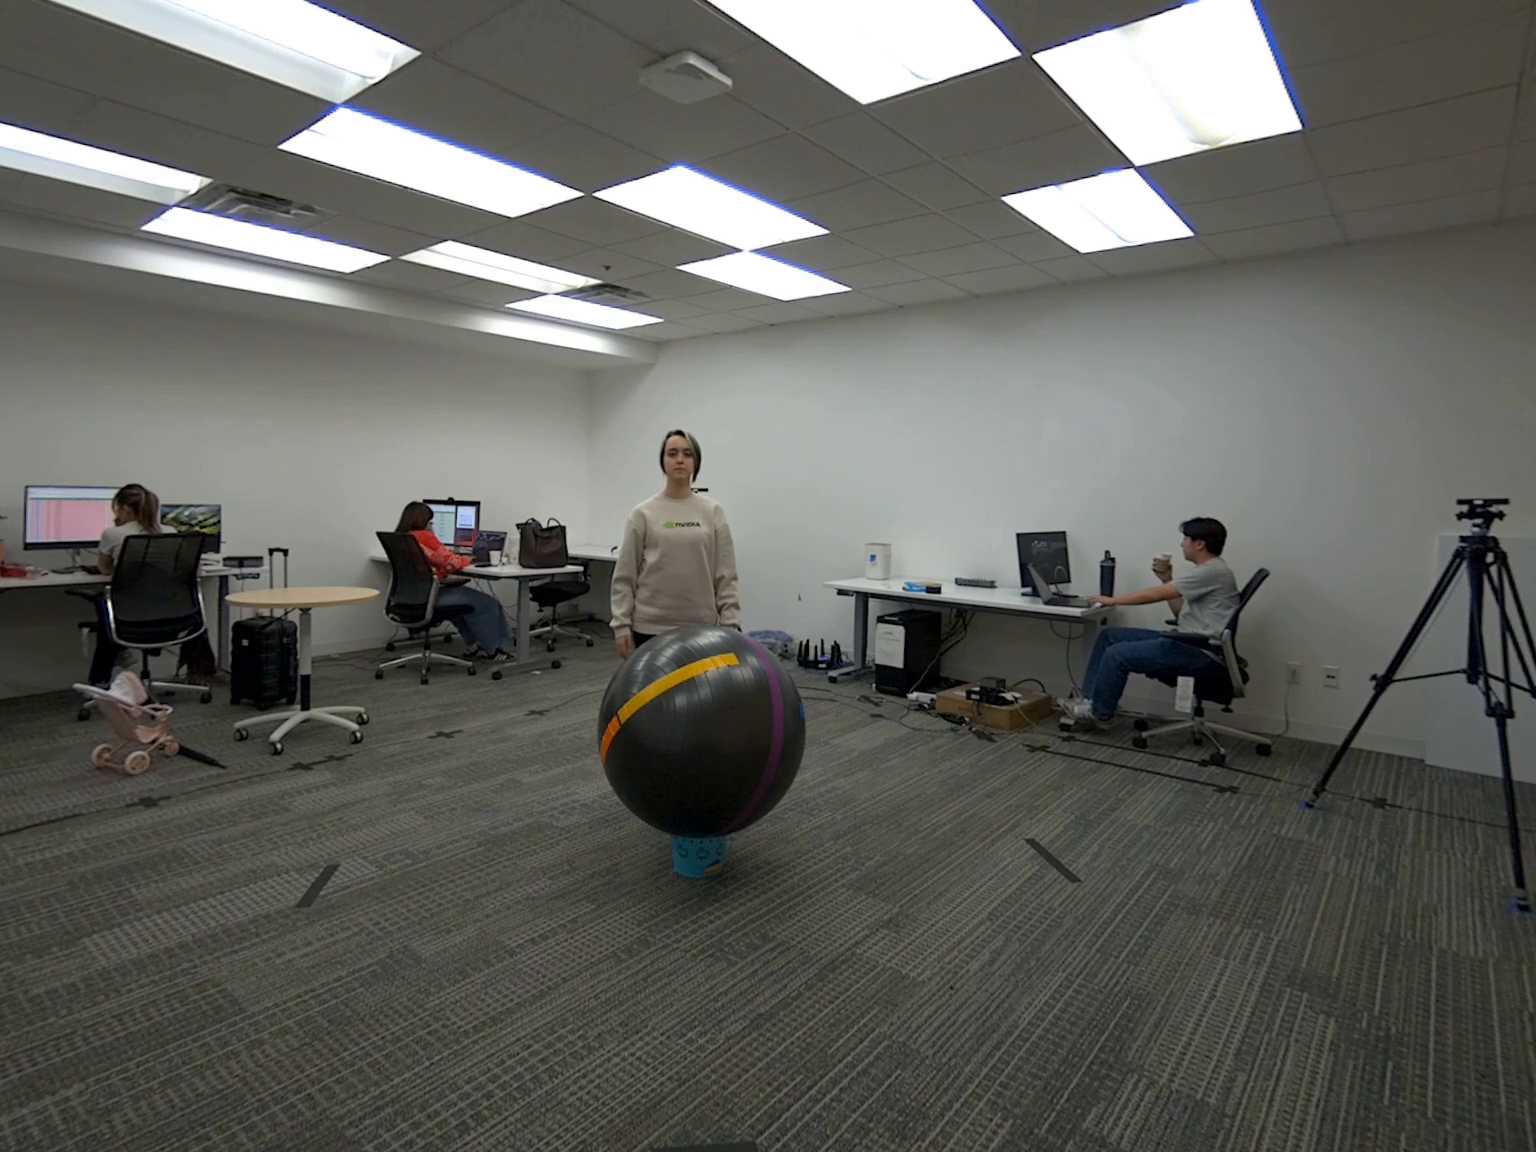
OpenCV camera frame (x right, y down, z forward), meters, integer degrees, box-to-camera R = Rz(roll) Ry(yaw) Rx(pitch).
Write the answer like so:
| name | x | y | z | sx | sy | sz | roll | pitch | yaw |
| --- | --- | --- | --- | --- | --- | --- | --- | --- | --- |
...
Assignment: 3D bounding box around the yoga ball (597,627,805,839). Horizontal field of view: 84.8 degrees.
| name | x | y | z | sx | sy | sz | roll | pitch | yaw |
| --- | --- | --- | --- | --- | --- | --- | --- | --- | --- |
| yoga ball | -0.254 | 0.556 | 3.104 | 0.757 | 0.756 | 0.762 | 1 | 4 | -2 |
